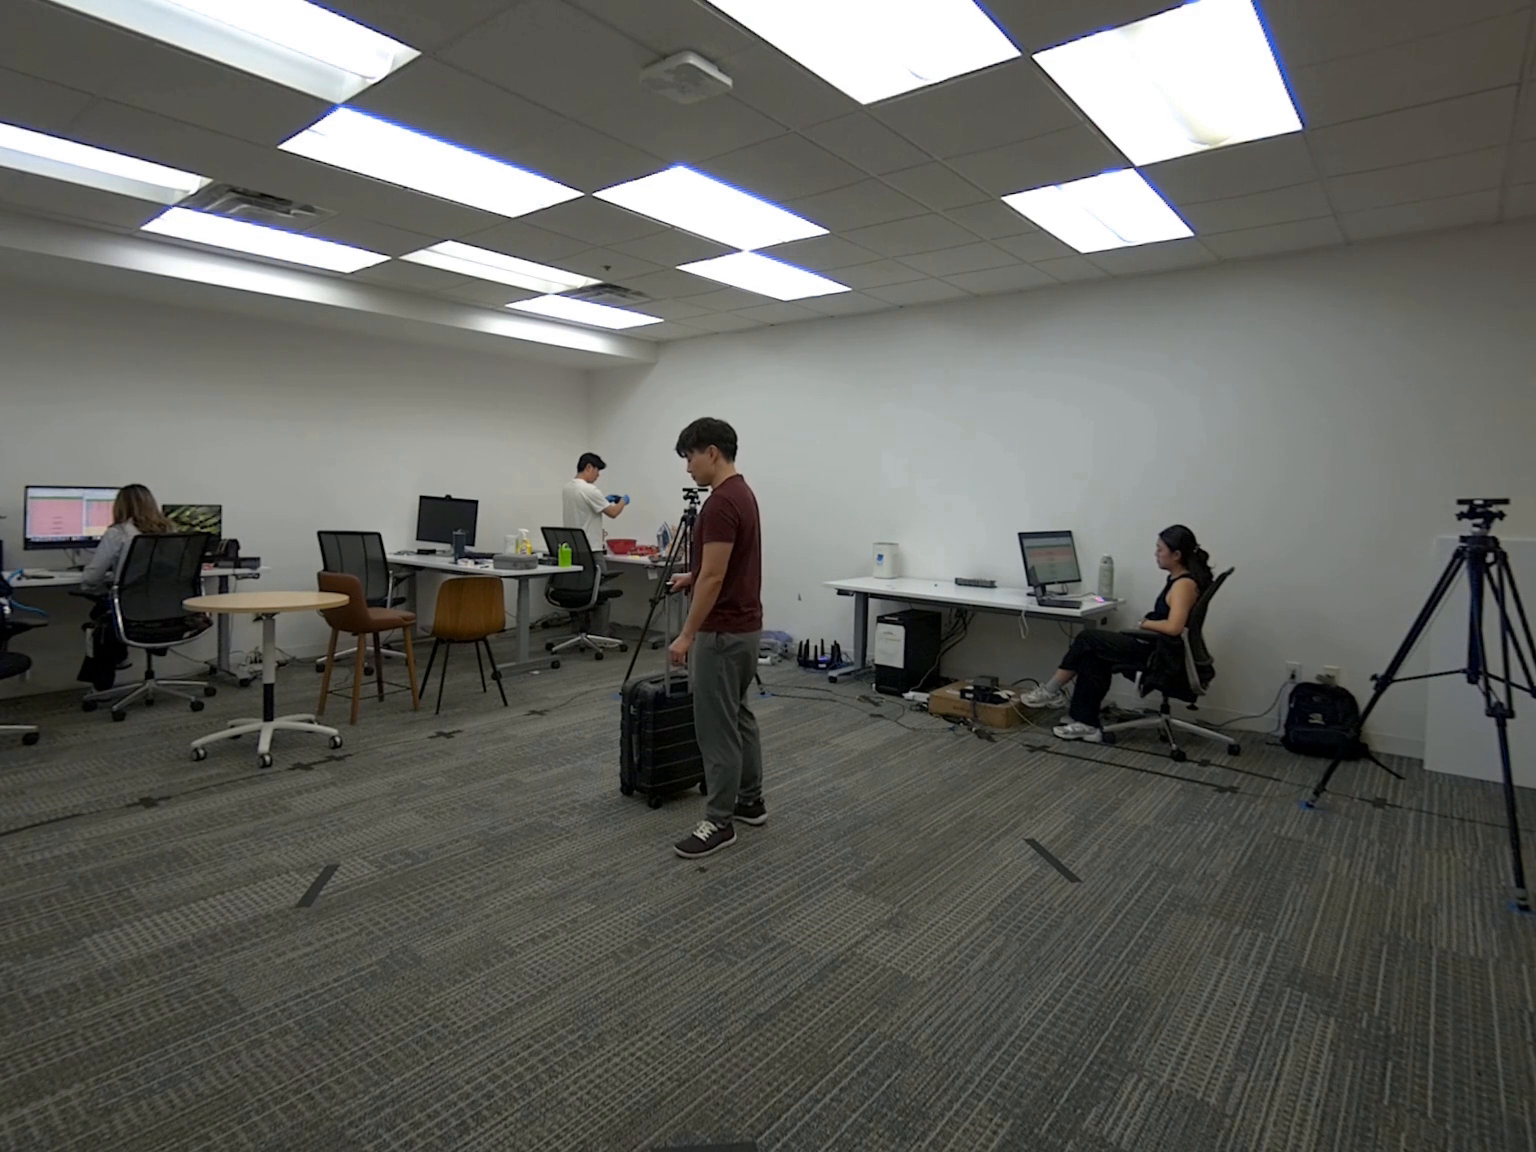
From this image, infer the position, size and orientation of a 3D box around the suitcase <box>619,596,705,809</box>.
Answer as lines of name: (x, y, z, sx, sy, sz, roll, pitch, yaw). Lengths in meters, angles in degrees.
suitcase: (-0.487, 0.519, 3.849, 0.372, 0.976, 0.265, -3, 3, -40)
